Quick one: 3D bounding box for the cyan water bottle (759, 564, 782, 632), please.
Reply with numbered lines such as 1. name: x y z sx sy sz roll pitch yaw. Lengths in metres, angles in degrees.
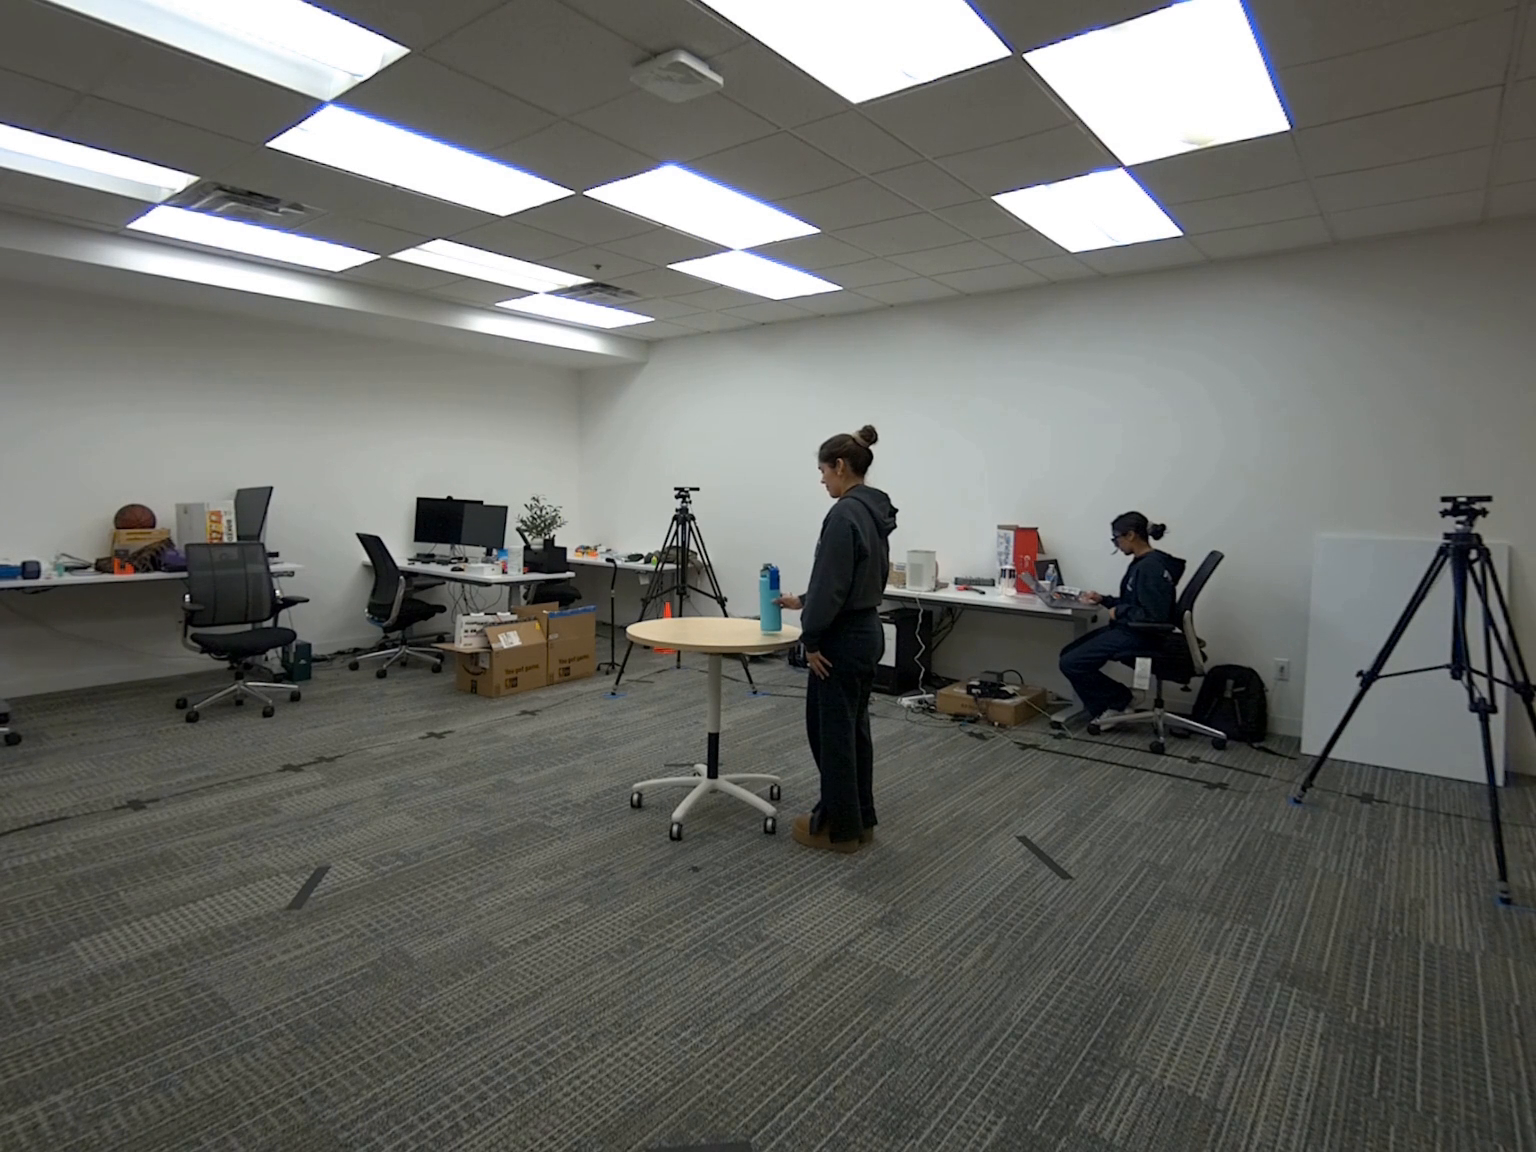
1. cyan water bottle: 0.014 0.070 3.592 0.092 0.283 0.092 0 0 -2
